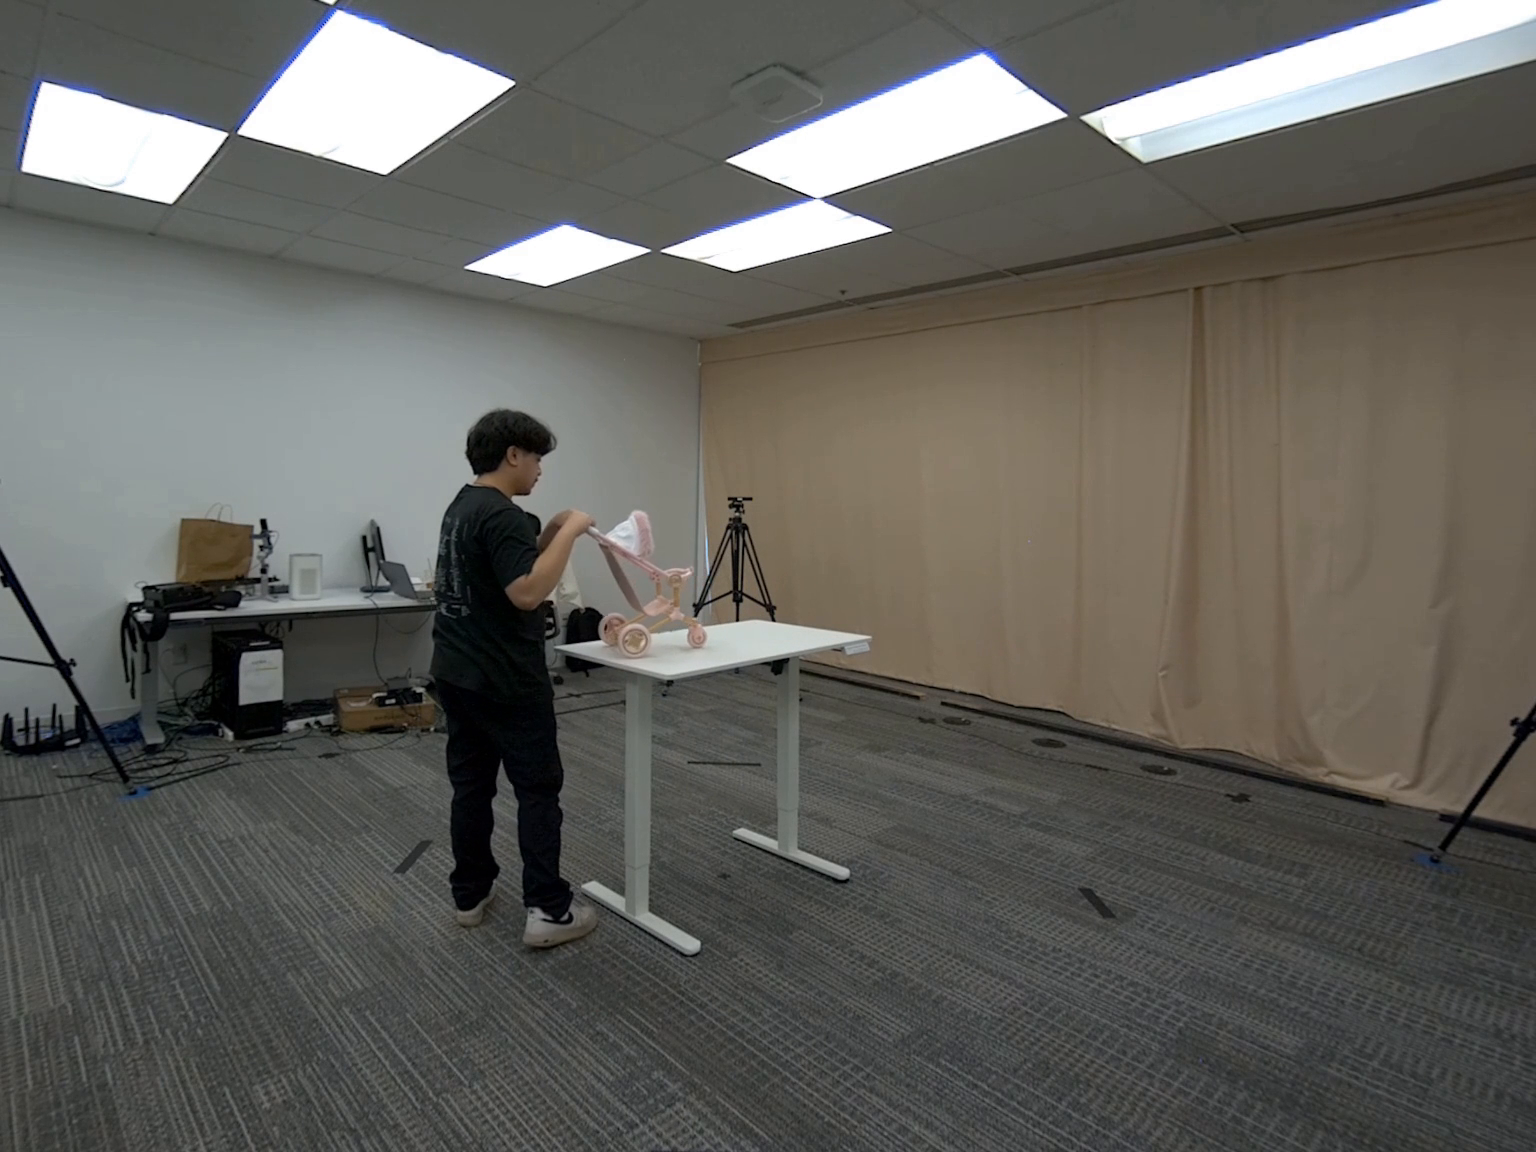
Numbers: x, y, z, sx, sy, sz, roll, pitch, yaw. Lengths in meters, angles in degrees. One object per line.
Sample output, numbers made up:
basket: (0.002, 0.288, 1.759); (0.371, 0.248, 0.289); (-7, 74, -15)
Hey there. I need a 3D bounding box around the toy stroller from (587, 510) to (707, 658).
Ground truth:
toy stroller: (-0.414, 0.024, 2.784); (0.338, 0.531, 0.286); (-16, 9, -17)
